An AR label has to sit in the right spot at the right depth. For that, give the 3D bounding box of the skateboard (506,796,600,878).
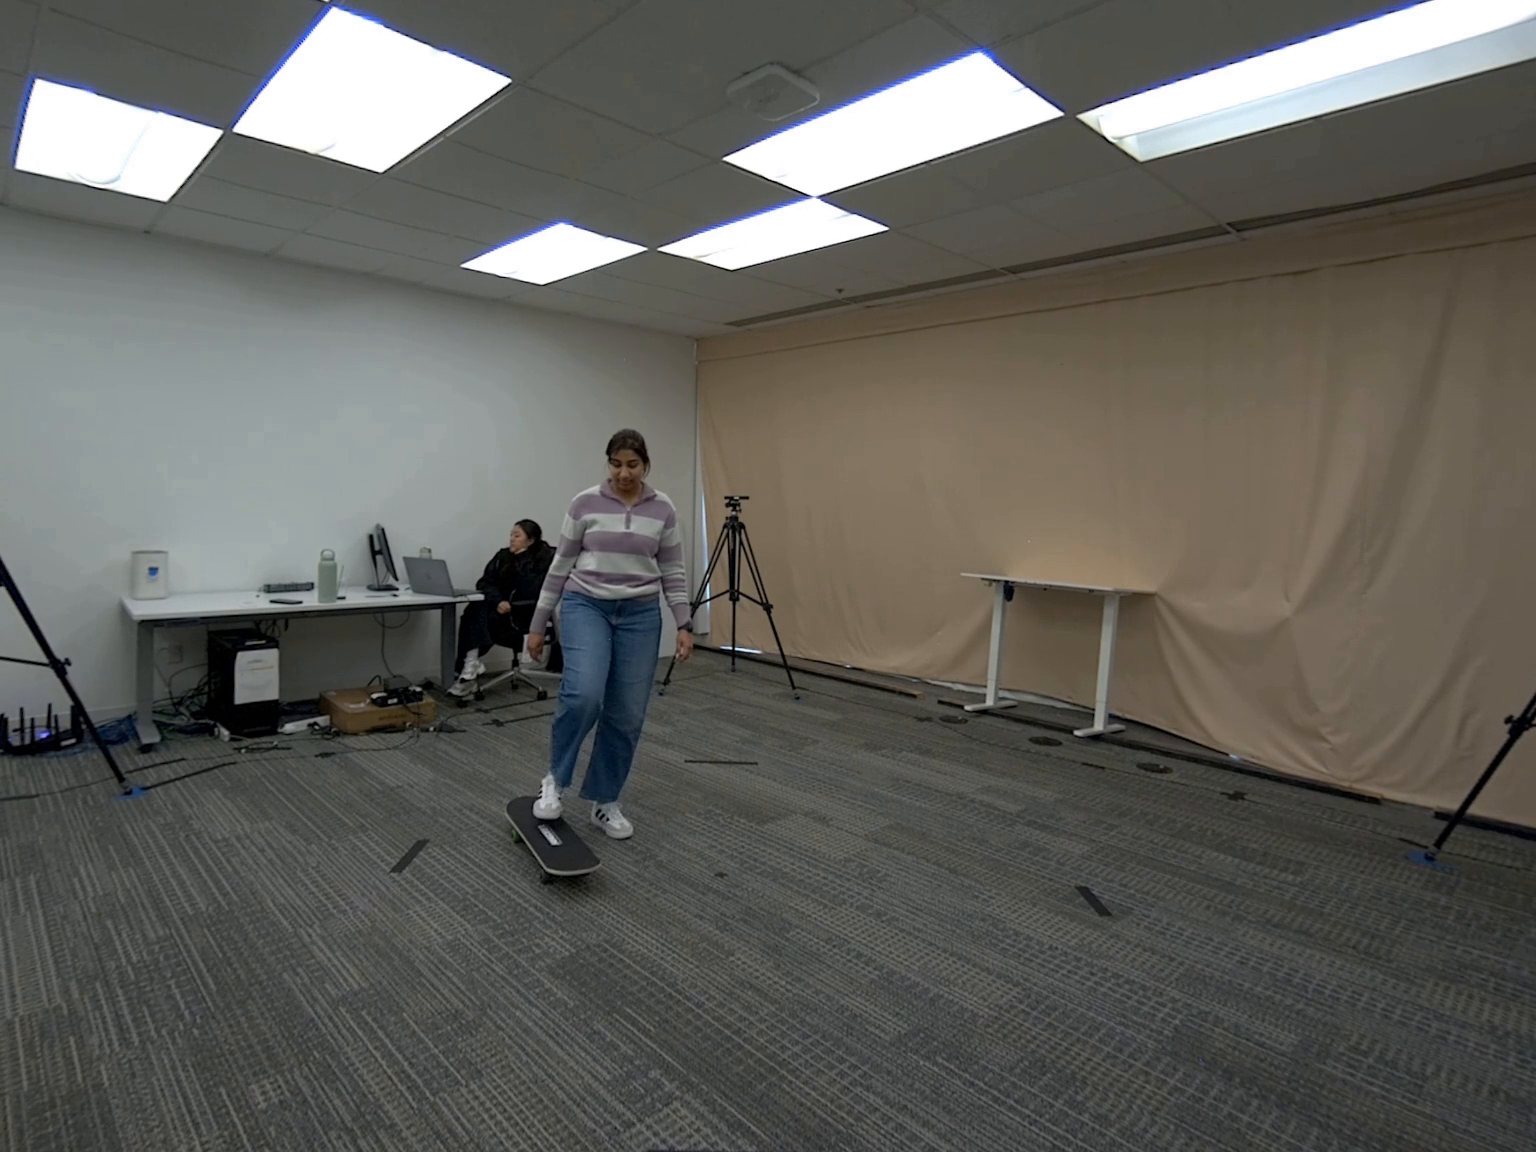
[{"bbox_3d":[-0.844,1.021,3.222,0.190,0.110,0.803,-2,6,-30],"label":"skateboard"}]
